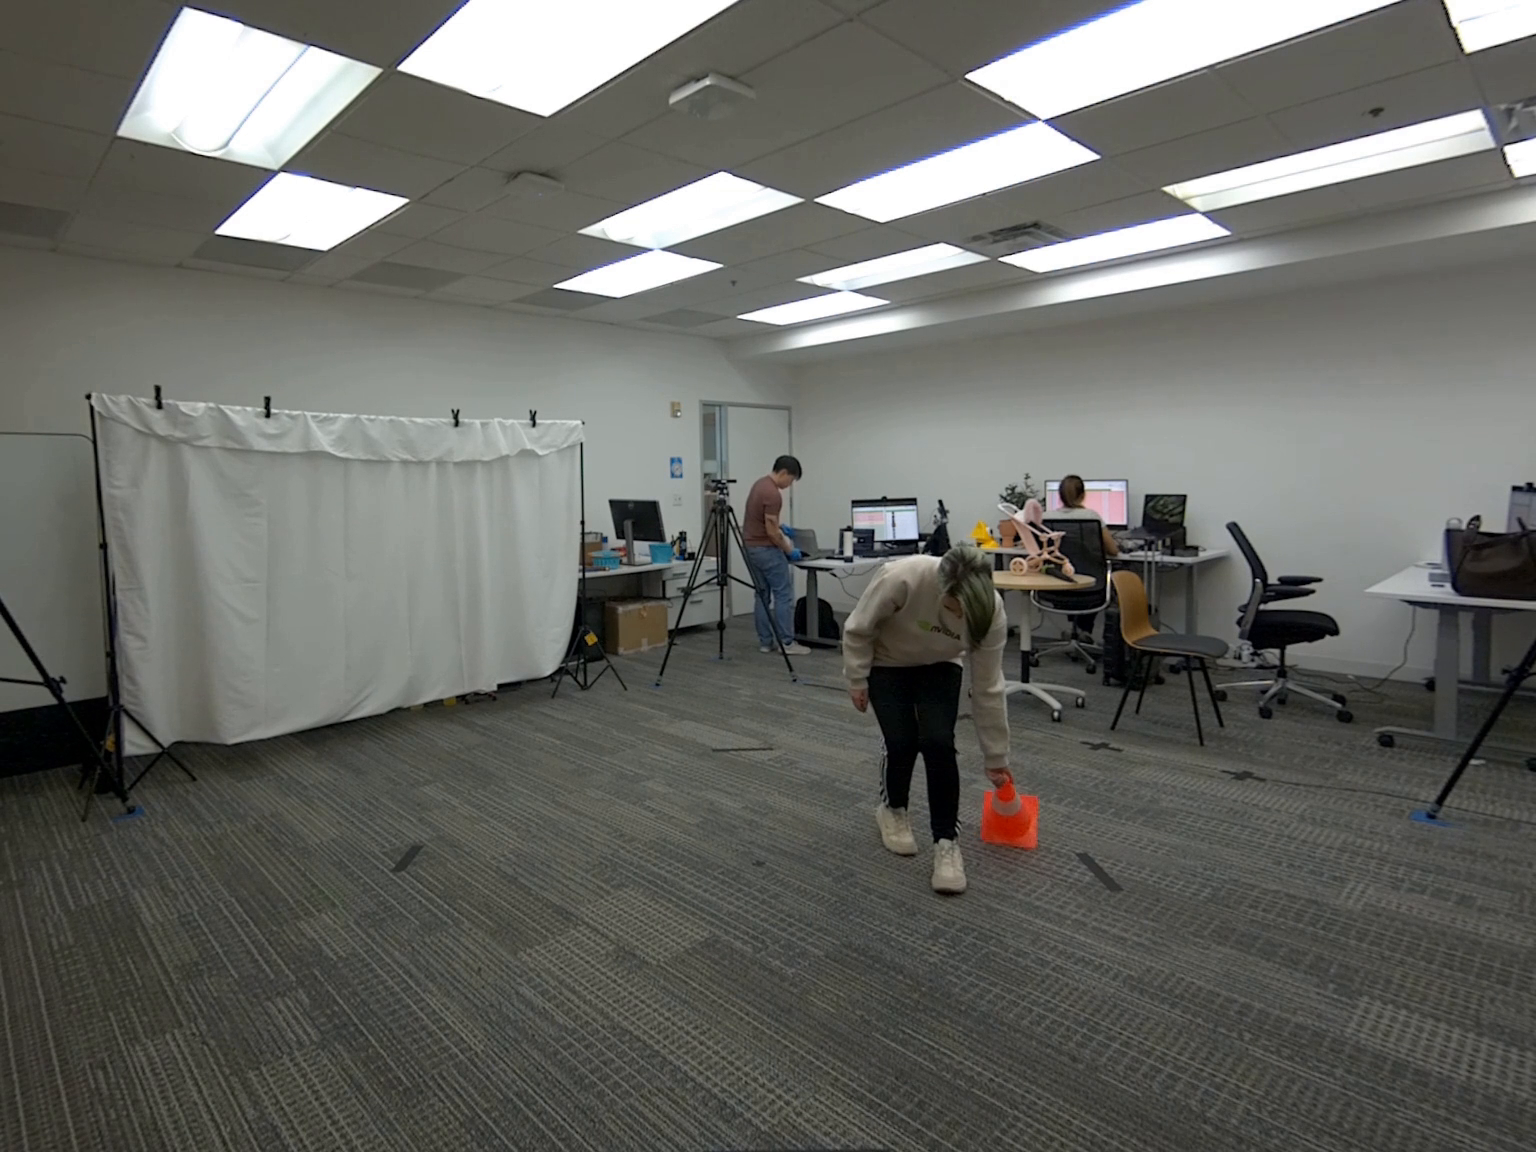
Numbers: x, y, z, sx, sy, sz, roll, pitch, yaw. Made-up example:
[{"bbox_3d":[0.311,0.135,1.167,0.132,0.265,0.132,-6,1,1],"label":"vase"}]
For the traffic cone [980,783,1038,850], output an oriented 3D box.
[{"bbox_3d":[0.871,0.821,3.113,0.210,0.205,0.370,10,-33,25],"label":"traffic cone"}]
